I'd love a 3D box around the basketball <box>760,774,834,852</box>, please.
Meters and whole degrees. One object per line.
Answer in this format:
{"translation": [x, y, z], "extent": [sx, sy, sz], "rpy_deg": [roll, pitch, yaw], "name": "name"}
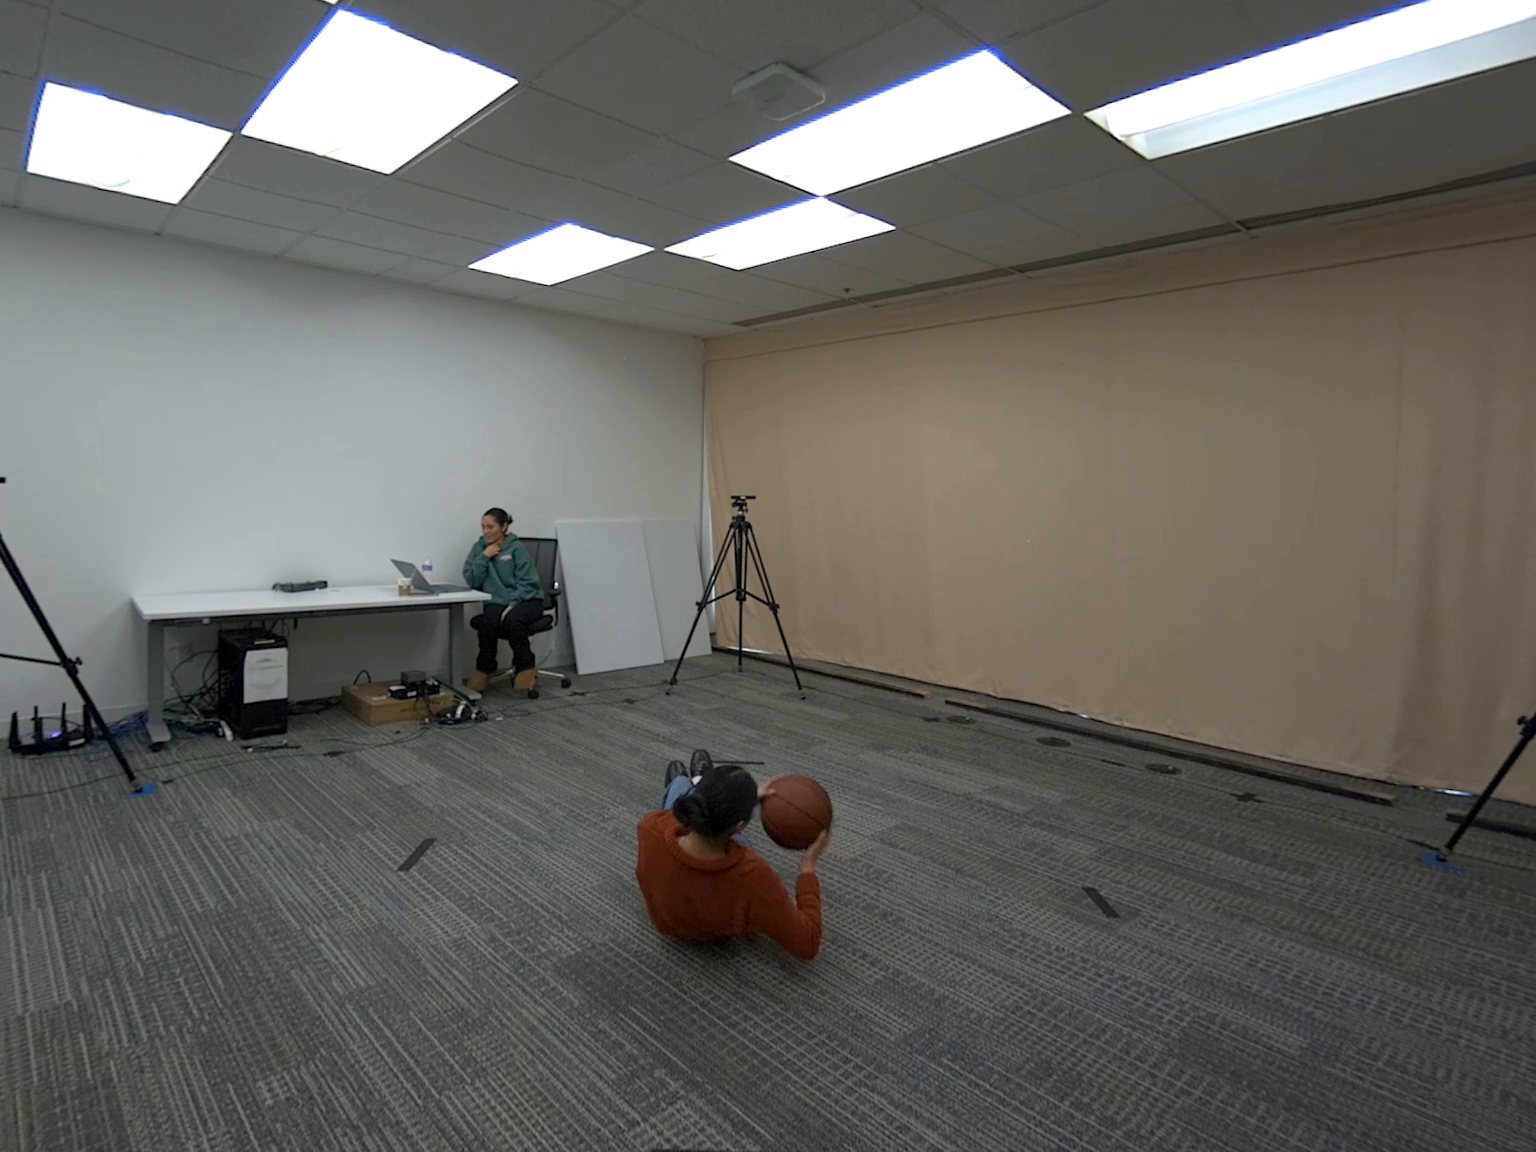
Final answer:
{"translation": [0.071, 0.777, 2.733], "extent": [0.236, 0.235, 0.237], "rpy_deg": [1, 4, -1], "name": "basketball"}
